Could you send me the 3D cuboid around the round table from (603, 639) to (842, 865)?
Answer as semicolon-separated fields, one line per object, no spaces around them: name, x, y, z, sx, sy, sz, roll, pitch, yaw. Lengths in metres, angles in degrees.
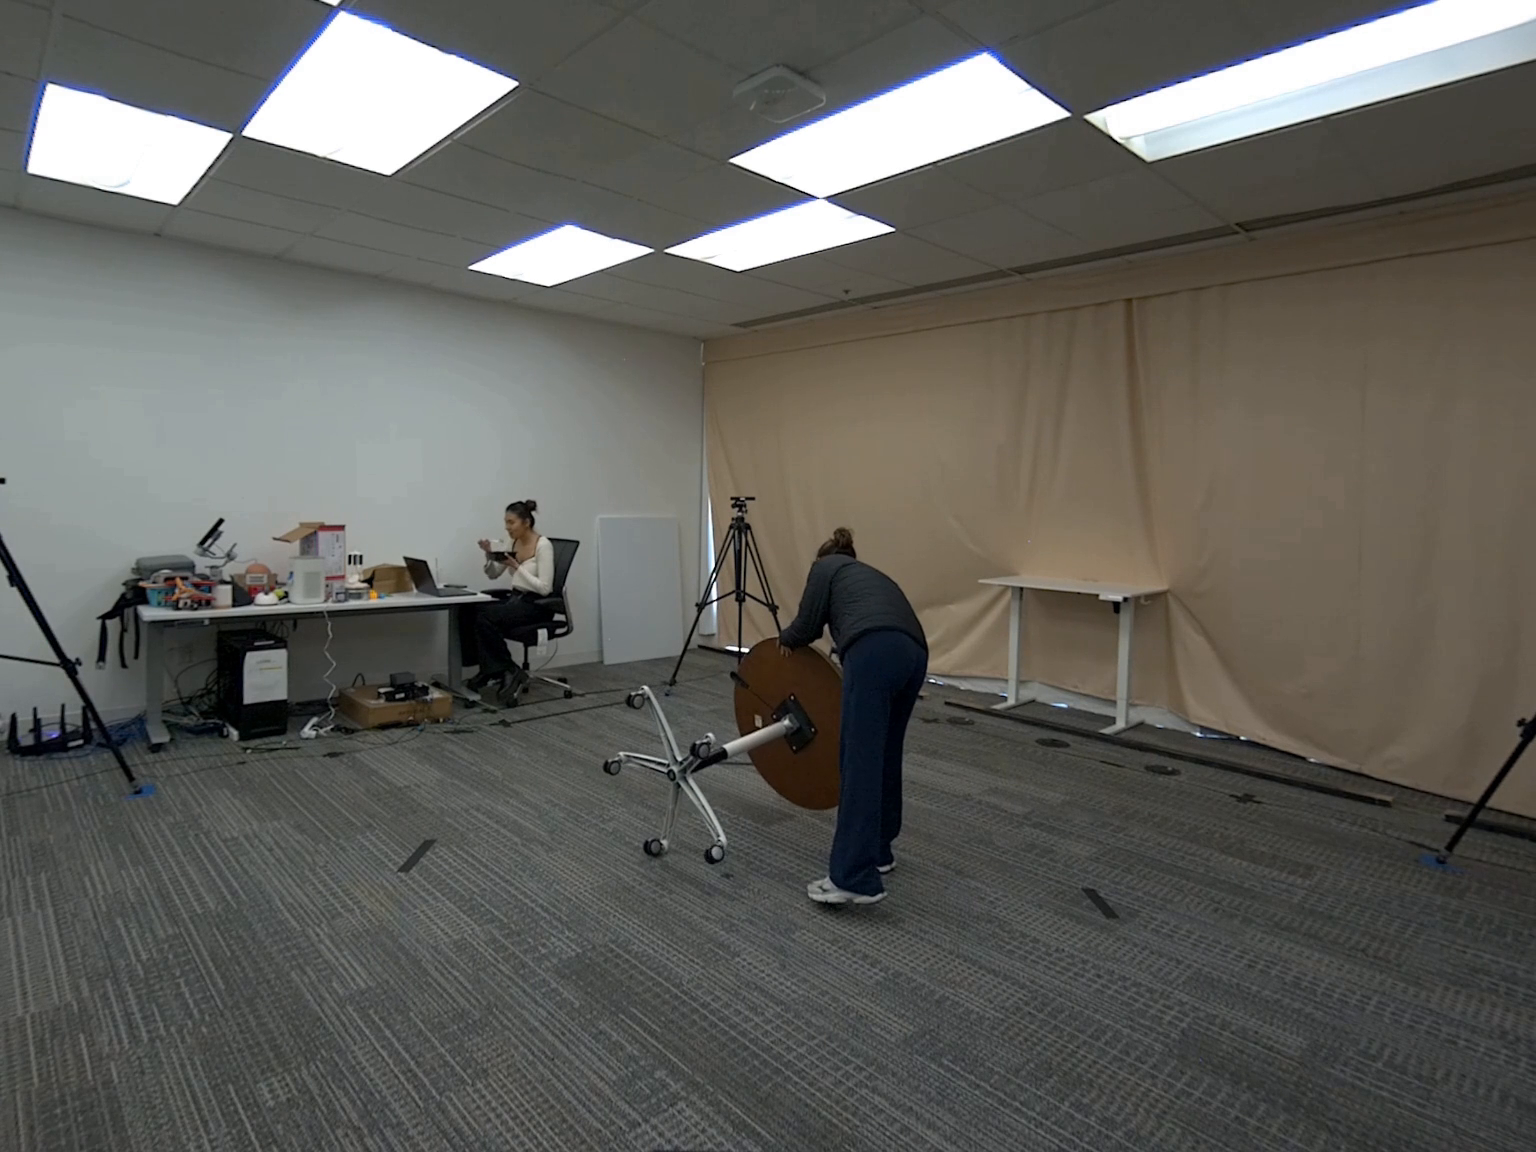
round table;-0.151;0.694;3.384;0.771;0.780;0.805;-12;12;-43
